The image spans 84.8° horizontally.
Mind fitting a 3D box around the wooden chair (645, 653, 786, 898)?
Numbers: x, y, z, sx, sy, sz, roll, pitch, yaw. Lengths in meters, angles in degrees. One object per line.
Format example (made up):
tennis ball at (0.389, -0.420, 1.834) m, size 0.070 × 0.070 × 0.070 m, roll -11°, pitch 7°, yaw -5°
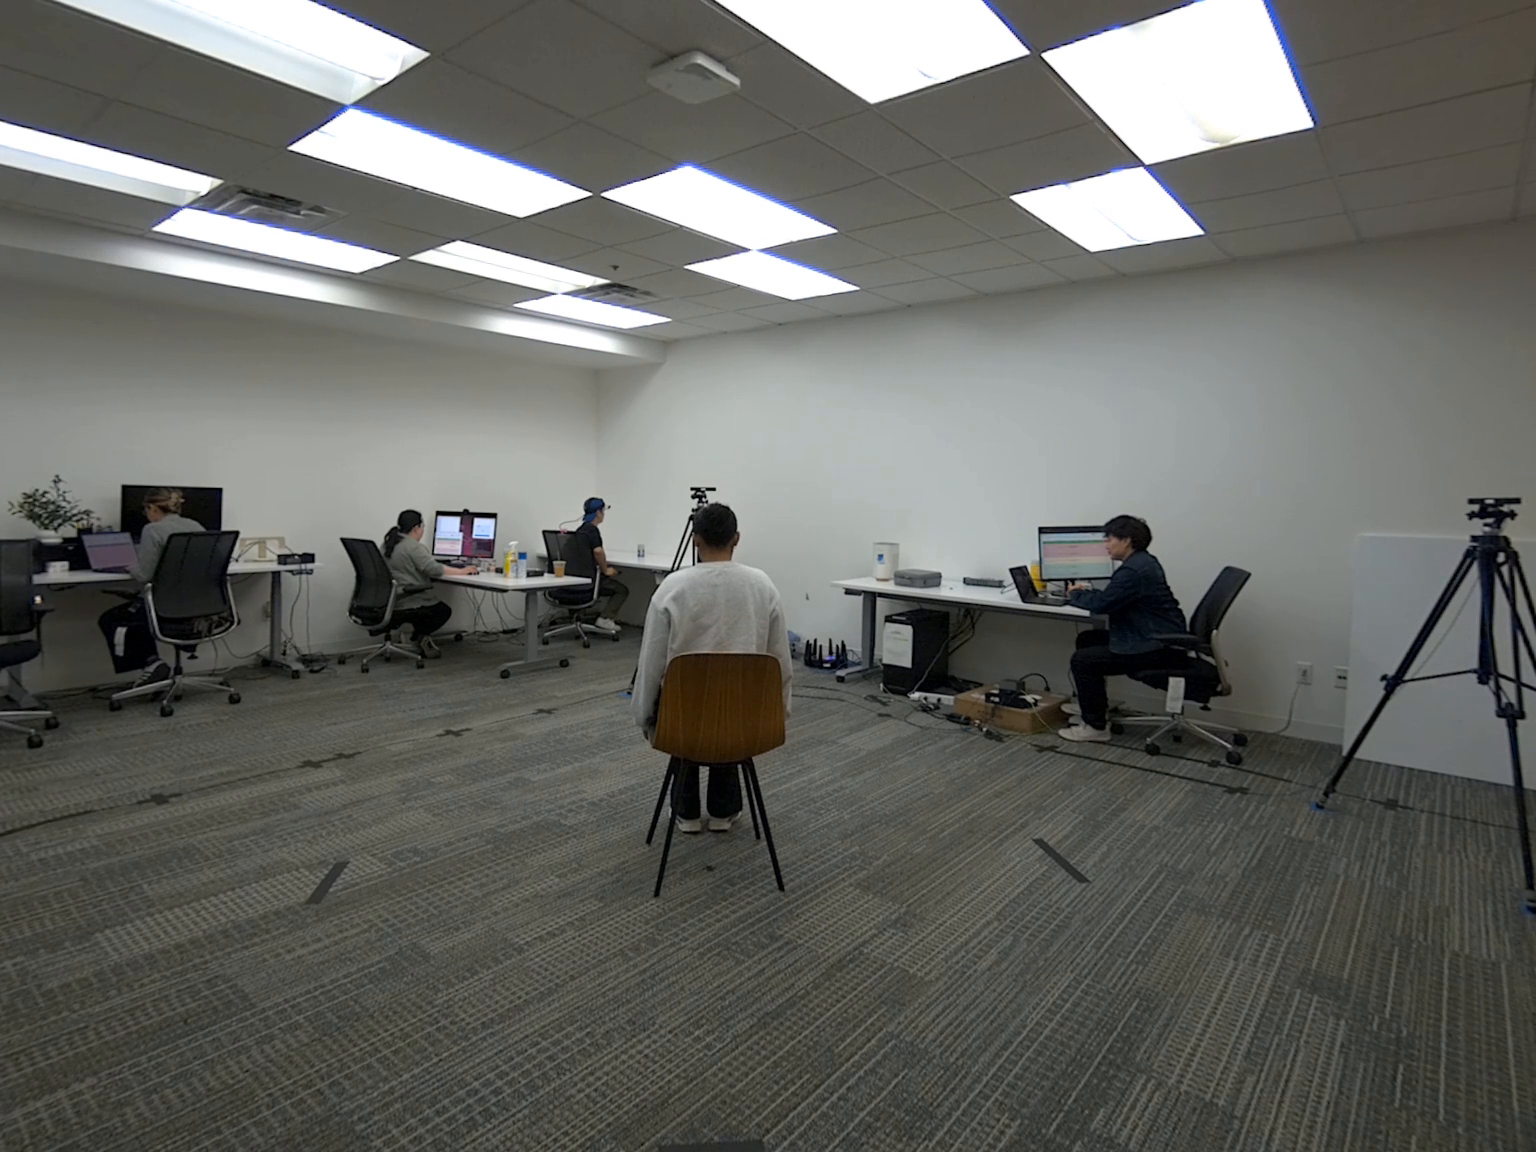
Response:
wooden chair at (-0.210, 0.641, 3.113) m, size 0.473 × 0.872 × 0.532 m, roll 0°, pitch 7°, yaw -11°
